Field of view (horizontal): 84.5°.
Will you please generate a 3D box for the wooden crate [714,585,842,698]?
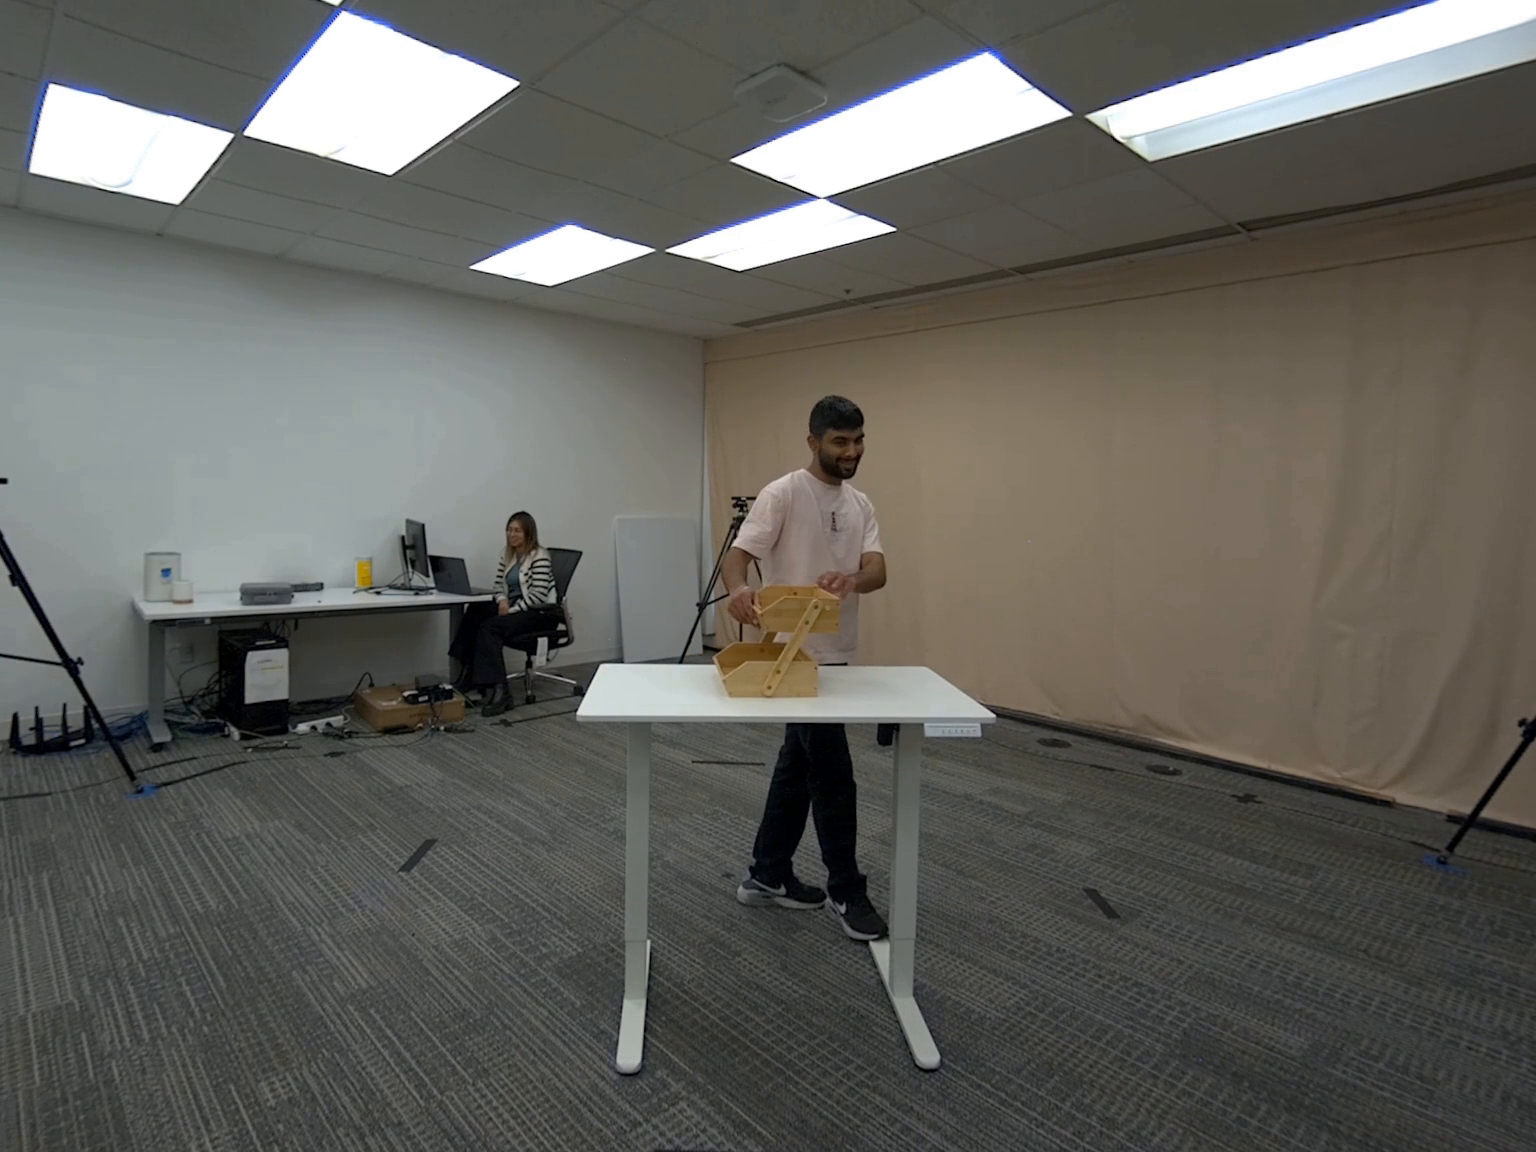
[{"bbox_3d":[-0.006,0.171,2.302,0.300,0.273,0.327,3,3,-7],"label":"wooden crate"}]
